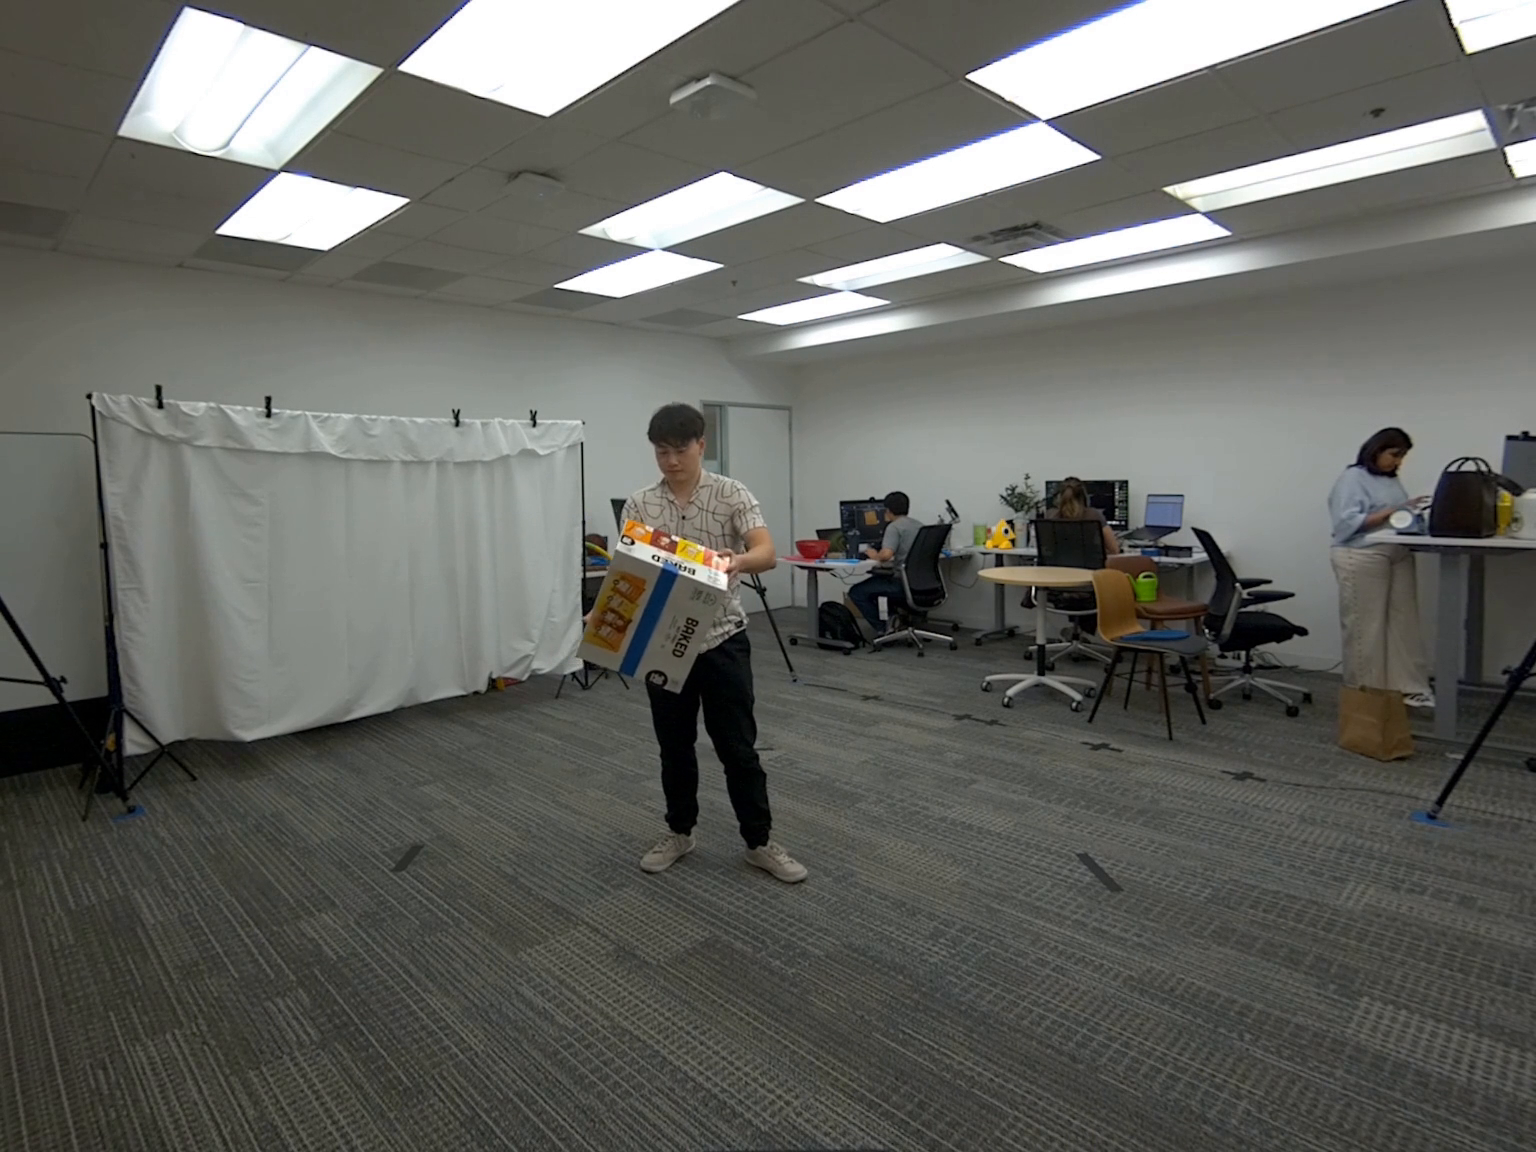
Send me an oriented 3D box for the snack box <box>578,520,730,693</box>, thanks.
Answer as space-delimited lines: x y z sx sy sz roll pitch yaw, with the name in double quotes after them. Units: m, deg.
-0.350 0.094 2.601 0.337 0.401 0.209 21 27 -7 "snack box"
